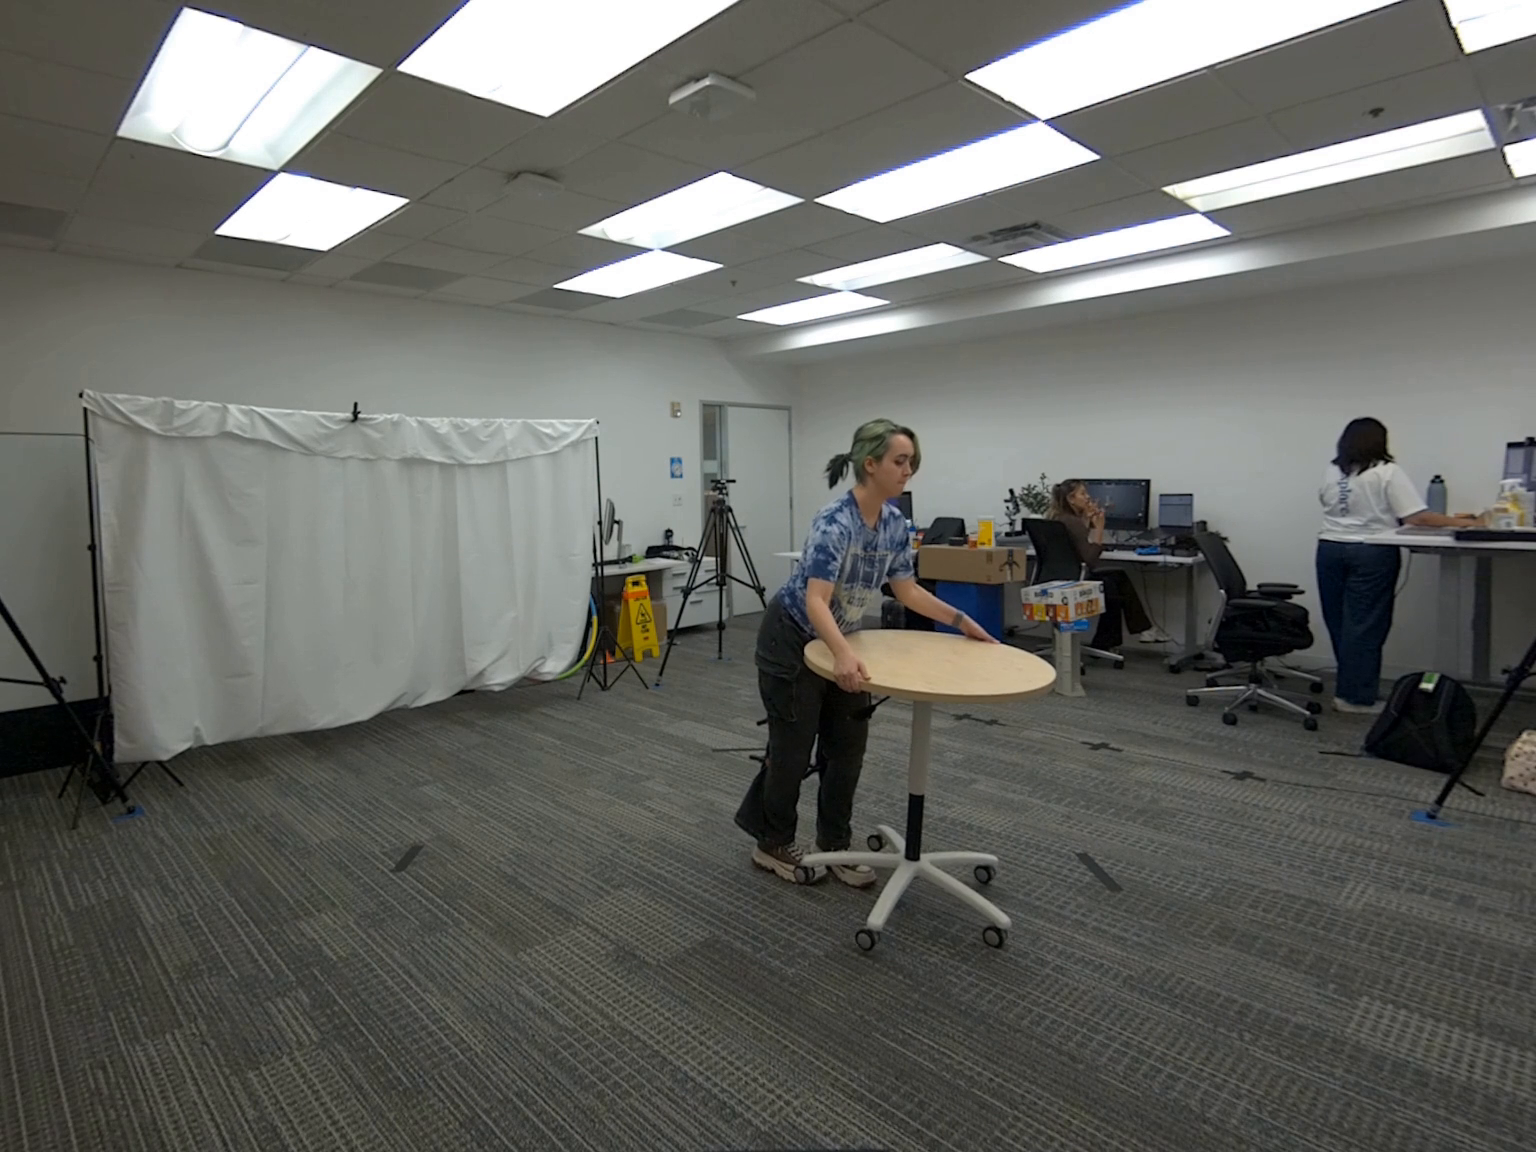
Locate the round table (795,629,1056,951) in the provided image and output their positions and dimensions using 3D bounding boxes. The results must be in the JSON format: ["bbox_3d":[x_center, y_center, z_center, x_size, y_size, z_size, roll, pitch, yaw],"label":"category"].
[{"bbox_3d":[0.493,0.665,2.722,0.763,0.789,0.770,2,7,-2],"label":"round table"}]
